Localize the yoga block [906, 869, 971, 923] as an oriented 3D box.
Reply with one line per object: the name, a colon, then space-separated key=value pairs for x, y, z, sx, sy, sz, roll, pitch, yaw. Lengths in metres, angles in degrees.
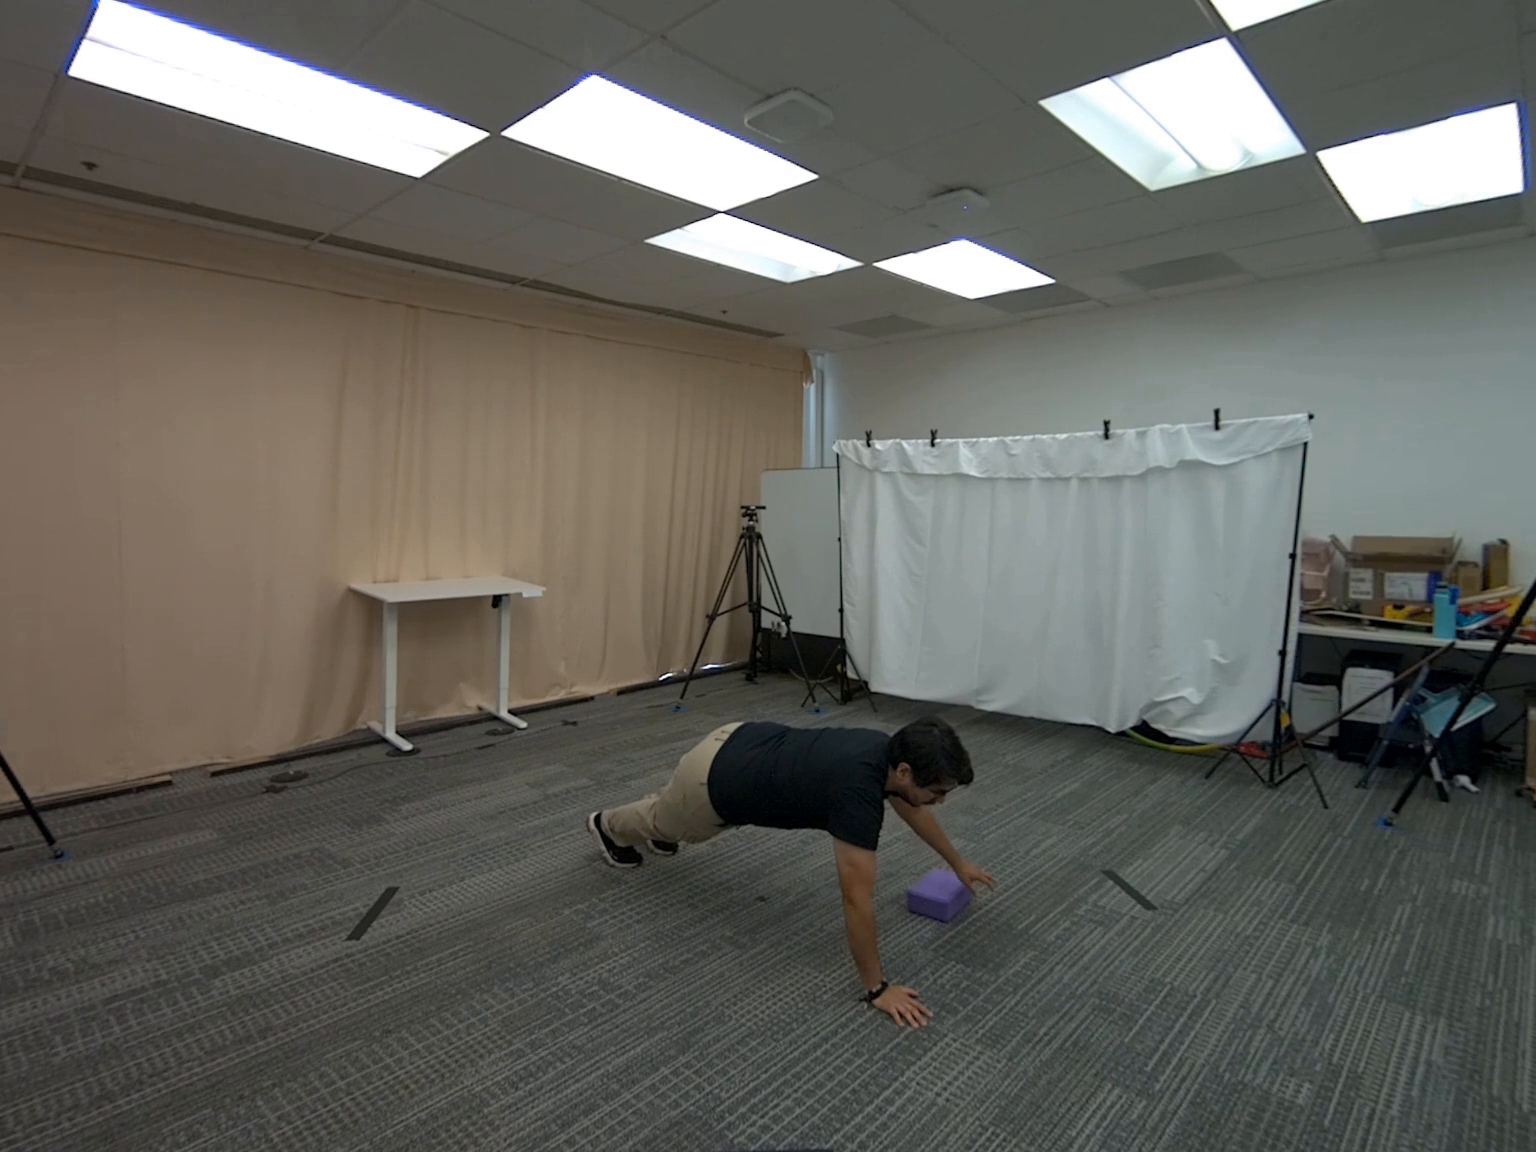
yoga block: x=0.609 y=1.103 z=2.917 sx=0.154 sy=0.076 sz=0.223 roll=3 pitch=6 yaw=37
